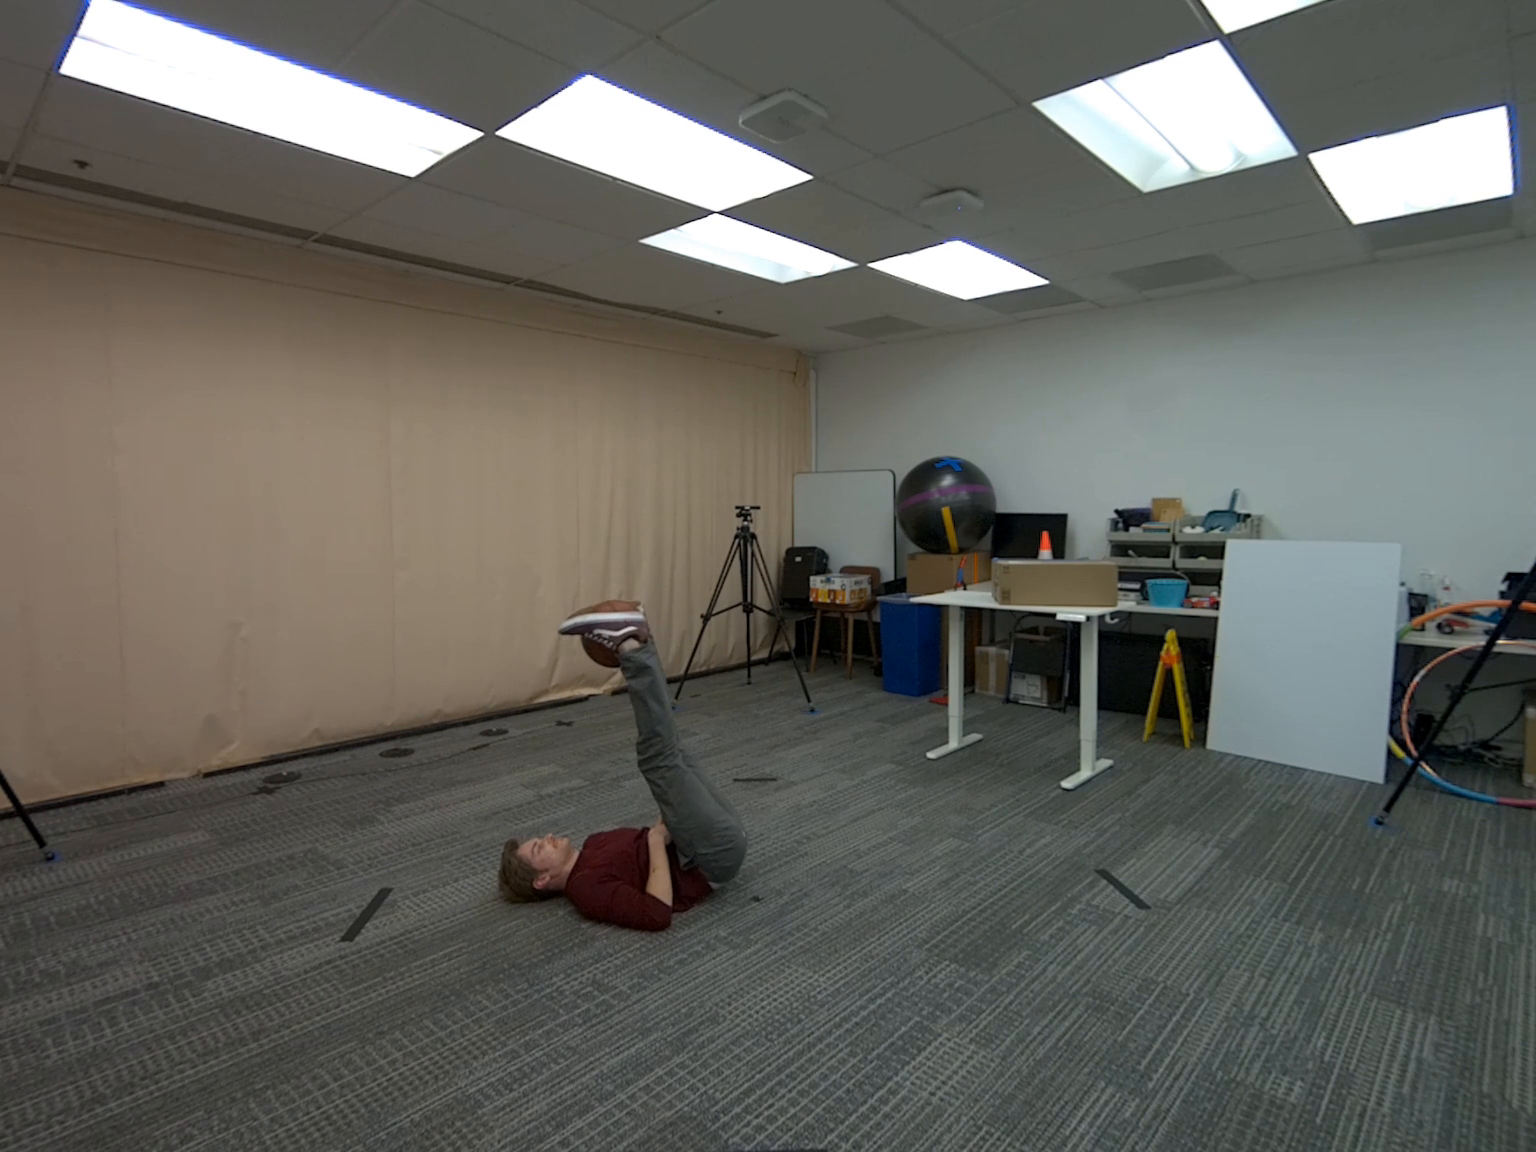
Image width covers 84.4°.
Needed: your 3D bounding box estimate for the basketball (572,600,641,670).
[{"bbox_3d":[-0.517,0.201,2.958,0.235,0.235,0.237,3,5,-2],"label":"basketball"}]
